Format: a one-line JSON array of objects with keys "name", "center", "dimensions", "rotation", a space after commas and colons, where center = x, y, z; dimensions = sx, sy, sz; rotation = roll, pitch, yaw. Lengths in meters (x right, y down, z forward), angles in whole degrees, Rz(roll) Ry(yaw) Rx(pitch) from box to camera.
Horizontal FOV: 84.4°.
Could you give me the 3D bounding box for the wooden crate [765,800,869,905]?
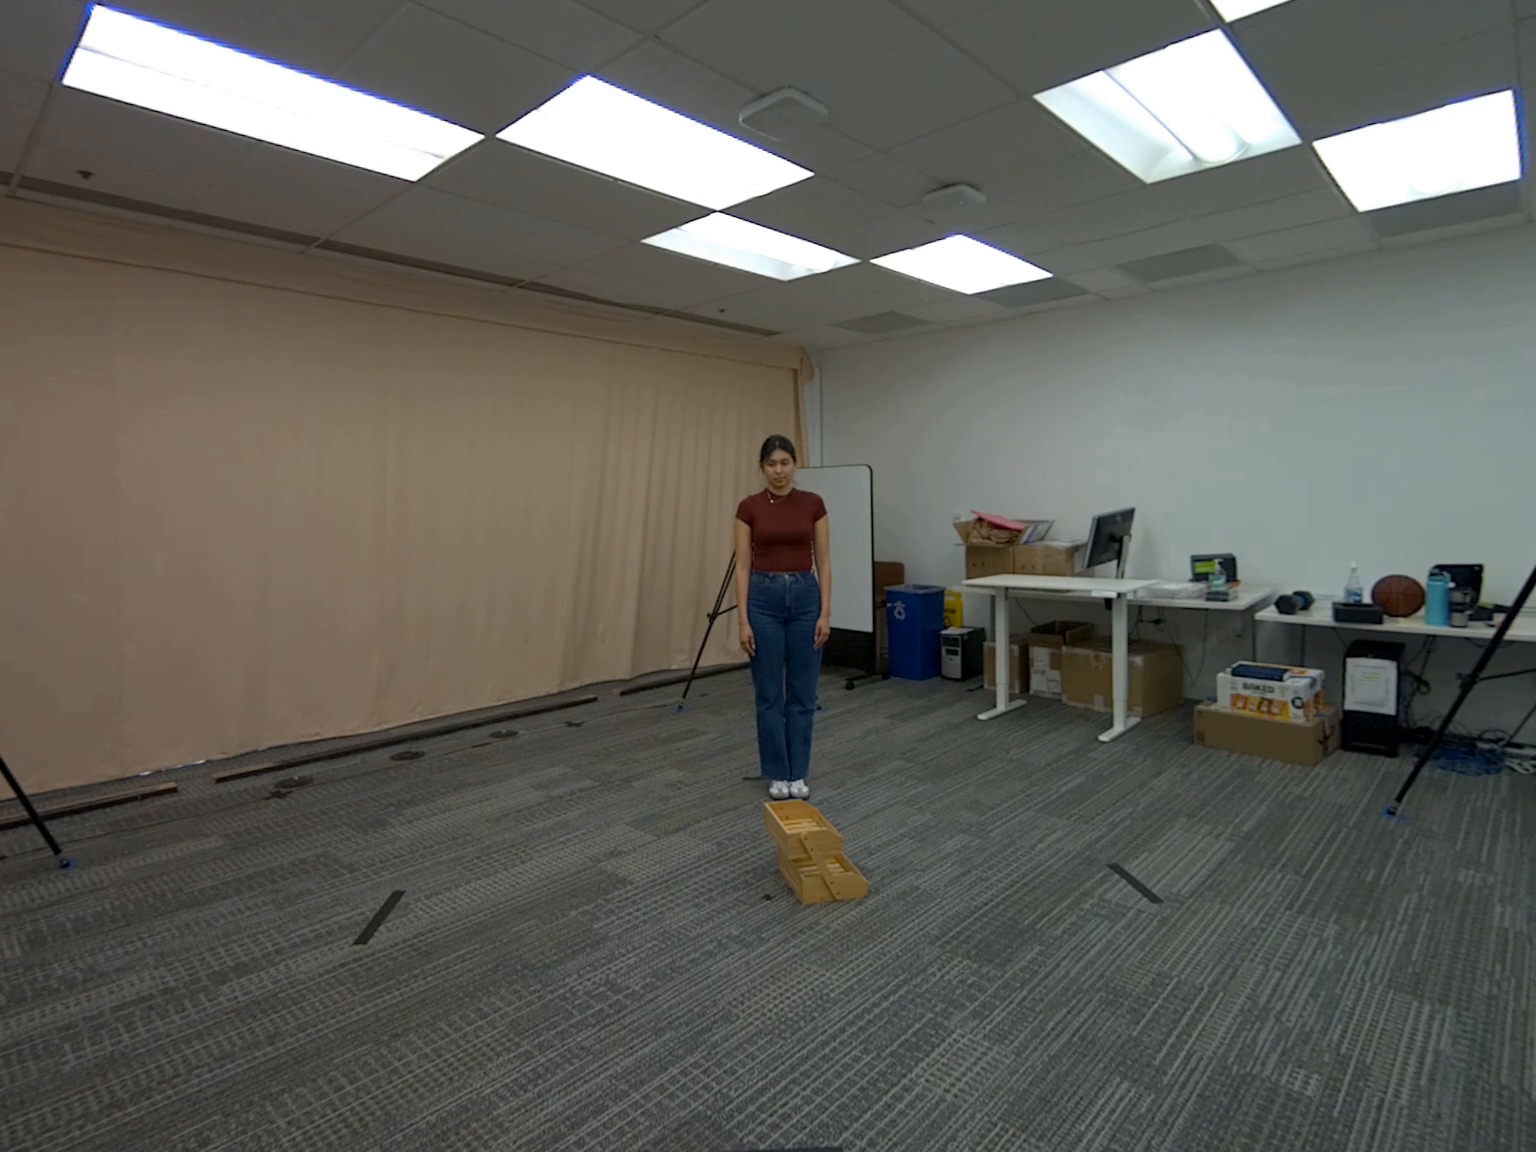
[{"name": "wooden crate", "center": [0.178, 0.988, 3.083], "dimensions": [0.297, 0.272, 0.330], "rotation": [-2, 4, -15]}]
